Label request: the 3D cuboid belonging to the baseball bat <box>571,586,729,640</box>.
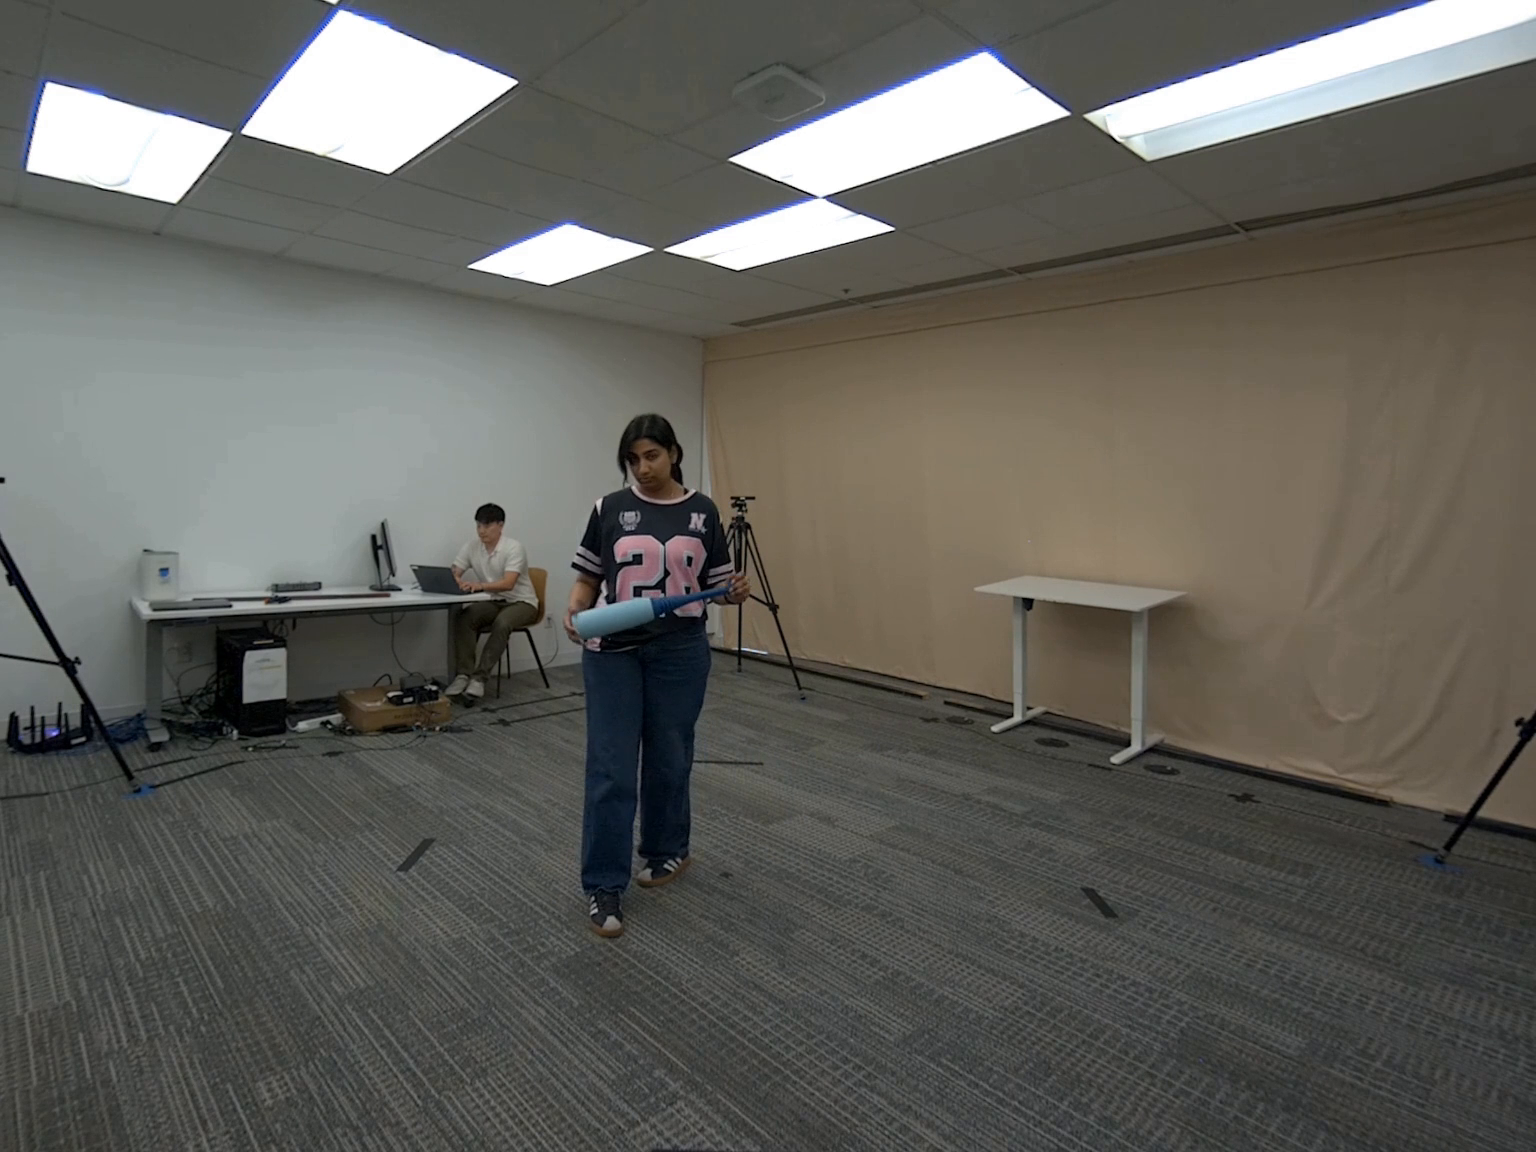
[{"bbox_3d":[-0.366,0.101,2.622,0.539,0.088,0.090,-17,9,-13],"label":"baseball bat"}]
